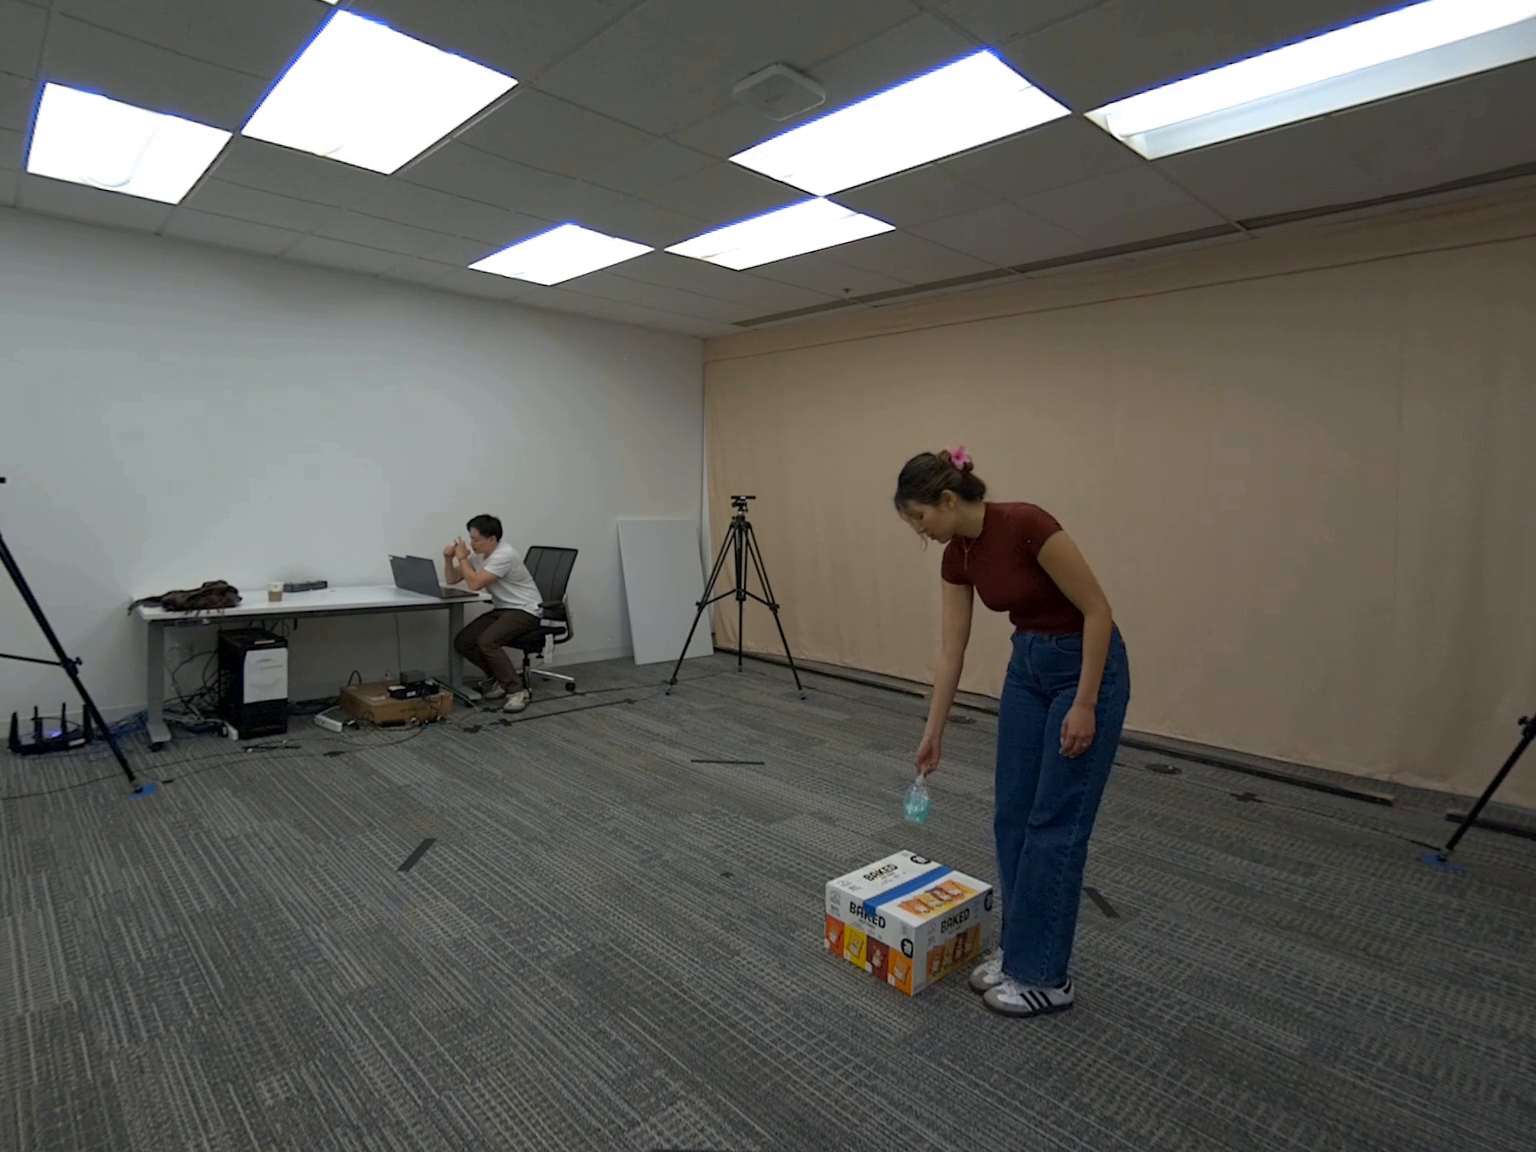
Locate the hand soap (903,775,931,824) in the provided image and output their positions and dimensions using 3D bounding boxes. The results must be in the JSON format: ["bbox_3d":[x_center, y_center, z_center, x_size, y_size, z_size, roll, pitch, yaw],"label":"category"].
[{"bbox_3d":[0.461,0.670,2.566,0.042,0.168,0.087,18,-7,-42],"label":"hand soap"}]
